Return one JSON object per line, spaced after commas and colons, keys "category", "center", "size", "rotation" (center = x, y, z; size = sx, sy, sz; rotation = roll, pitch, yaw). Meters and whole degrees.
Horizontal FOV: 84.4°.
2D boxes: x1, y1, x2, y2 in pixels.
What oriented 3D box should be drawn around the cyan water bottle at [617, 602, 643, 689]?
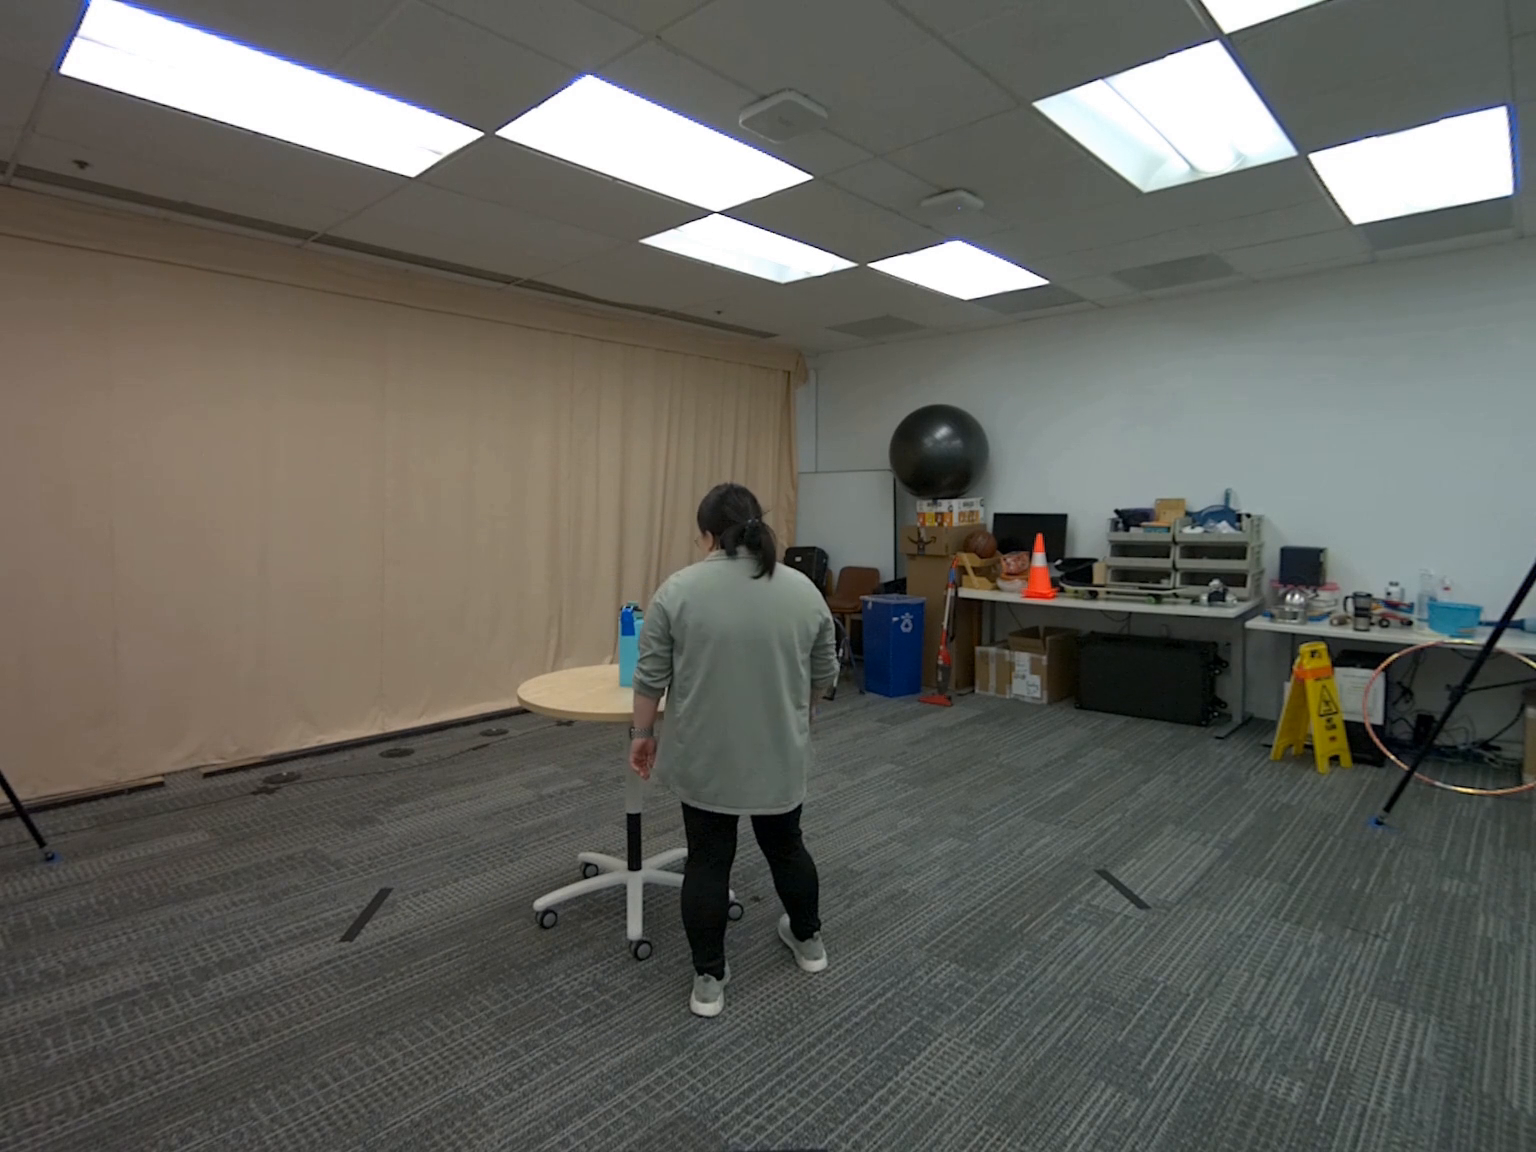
{"category": "cyan water bottle", "center": [-0.463, 0.233, 2.874], "size": [0.092, 0.282, 0.093], "rotation": [2, 5, -2]}
